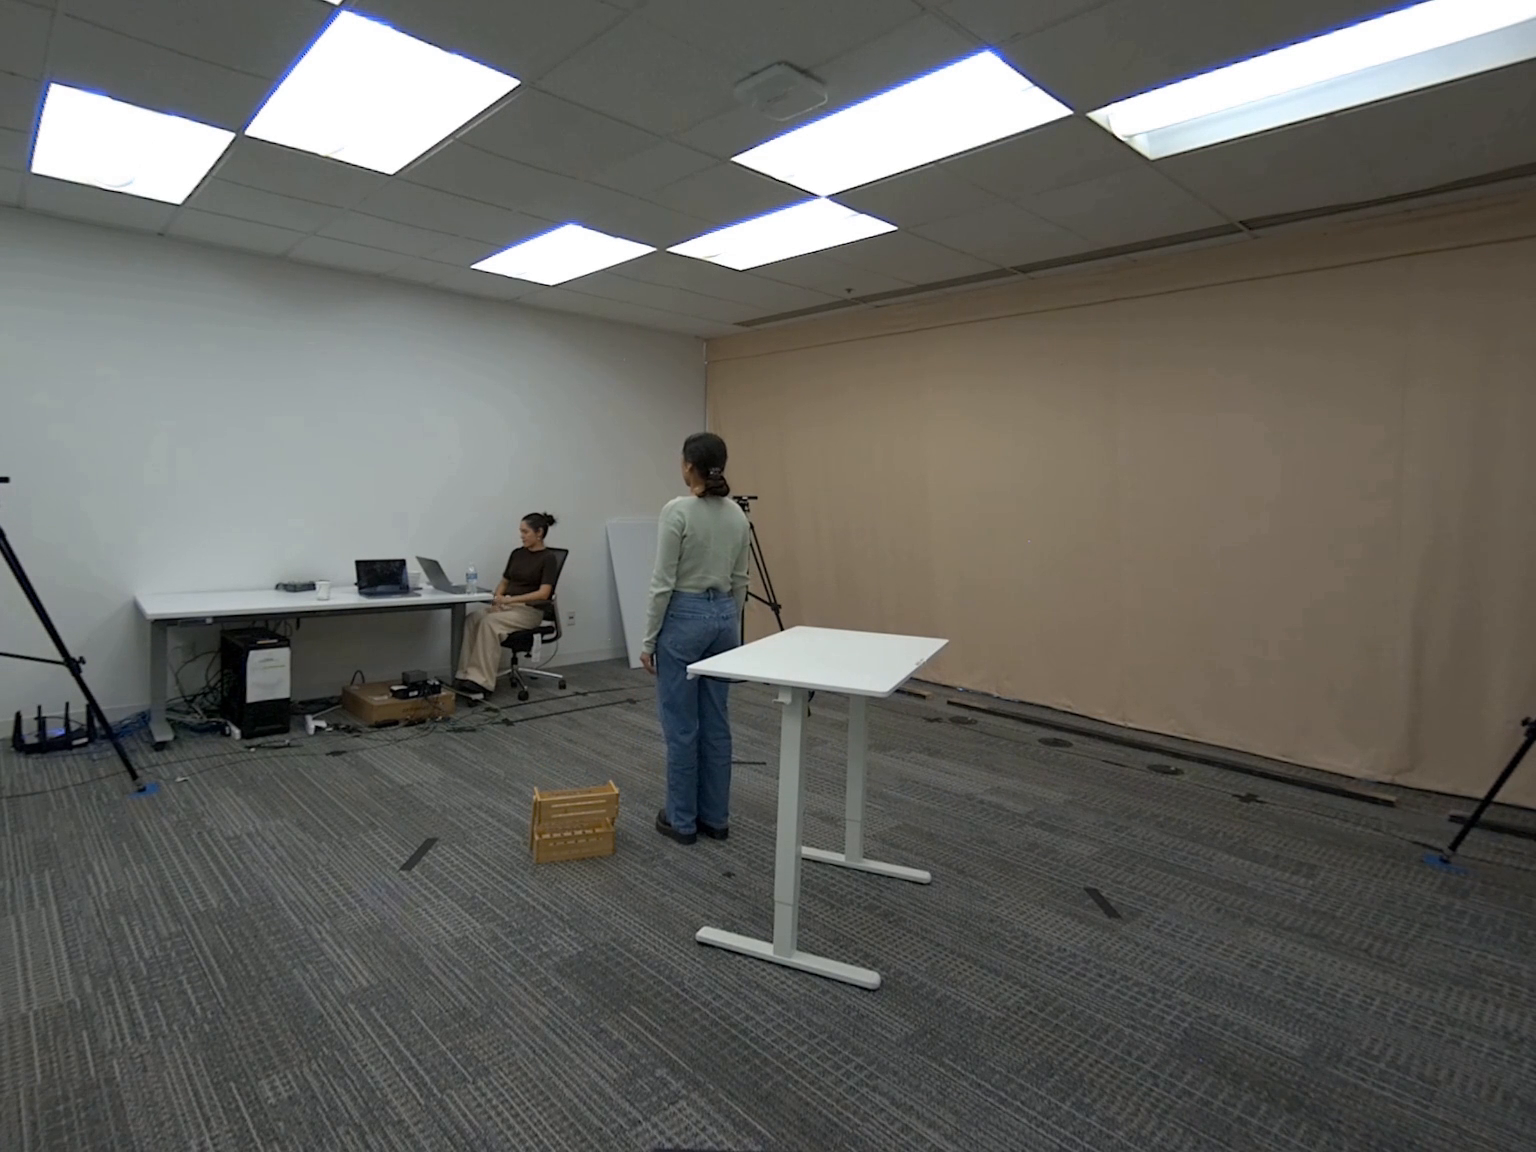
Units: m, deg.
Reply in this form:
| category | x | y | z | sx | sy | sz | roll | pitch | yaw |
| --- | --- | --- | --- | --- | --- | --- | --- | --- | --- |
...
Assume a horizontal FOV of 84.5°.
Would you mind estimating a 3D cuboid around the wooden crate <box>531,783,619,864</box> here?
| category | x | y | z | sx | sy | sz | roll | pitch | yaw |
| --- | --- | --- | --- | --- | --- | --- | --- | --- | --- |
| wooden crate | -0.777 | 0.939 | 3.296 | 0.319 | 0.272 | 0.307 | 0 | 4 | -21 |
